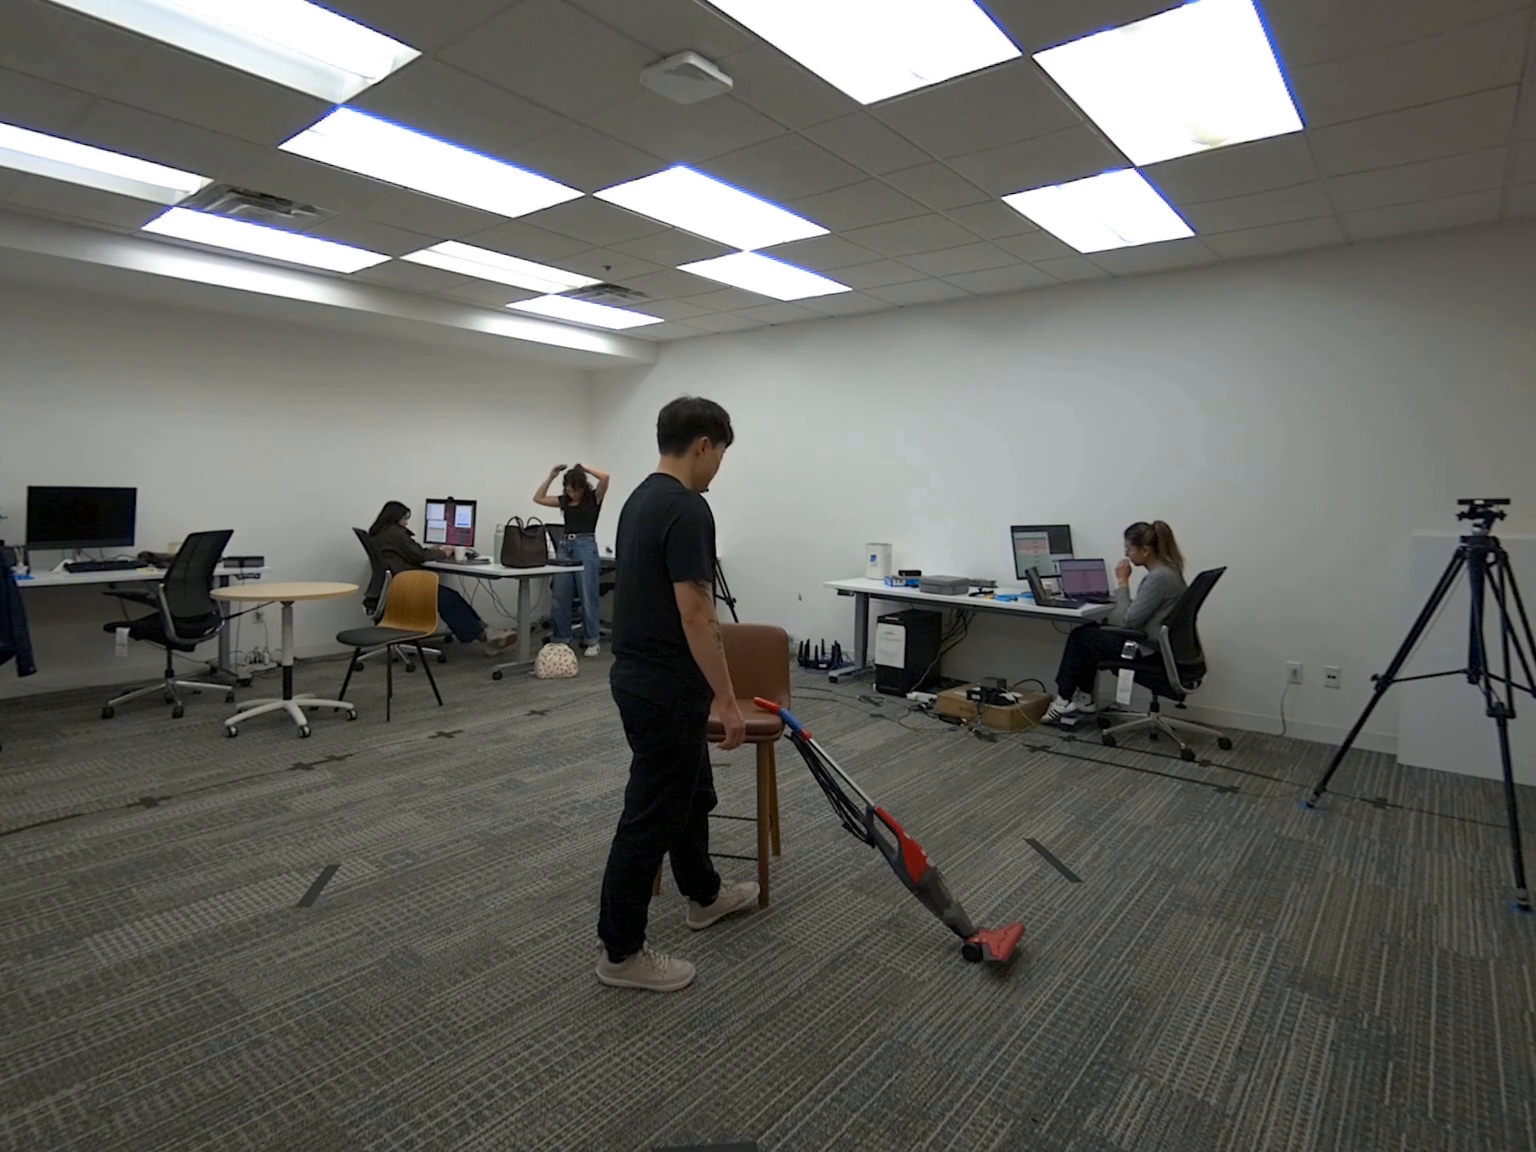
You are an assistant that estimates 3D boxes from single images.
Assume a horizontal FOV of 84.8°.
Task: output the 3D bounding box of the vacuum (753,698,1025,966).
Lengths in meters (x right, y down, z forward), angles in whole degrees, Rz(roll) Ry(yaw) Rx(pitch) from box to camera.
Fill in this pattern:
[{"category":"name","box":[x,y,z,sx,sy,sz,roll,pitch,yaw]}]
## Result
[{"category":"vacuum","box":[0.327,0.786,2.776,1.085,0.143,0.245,42,22,25]}]
